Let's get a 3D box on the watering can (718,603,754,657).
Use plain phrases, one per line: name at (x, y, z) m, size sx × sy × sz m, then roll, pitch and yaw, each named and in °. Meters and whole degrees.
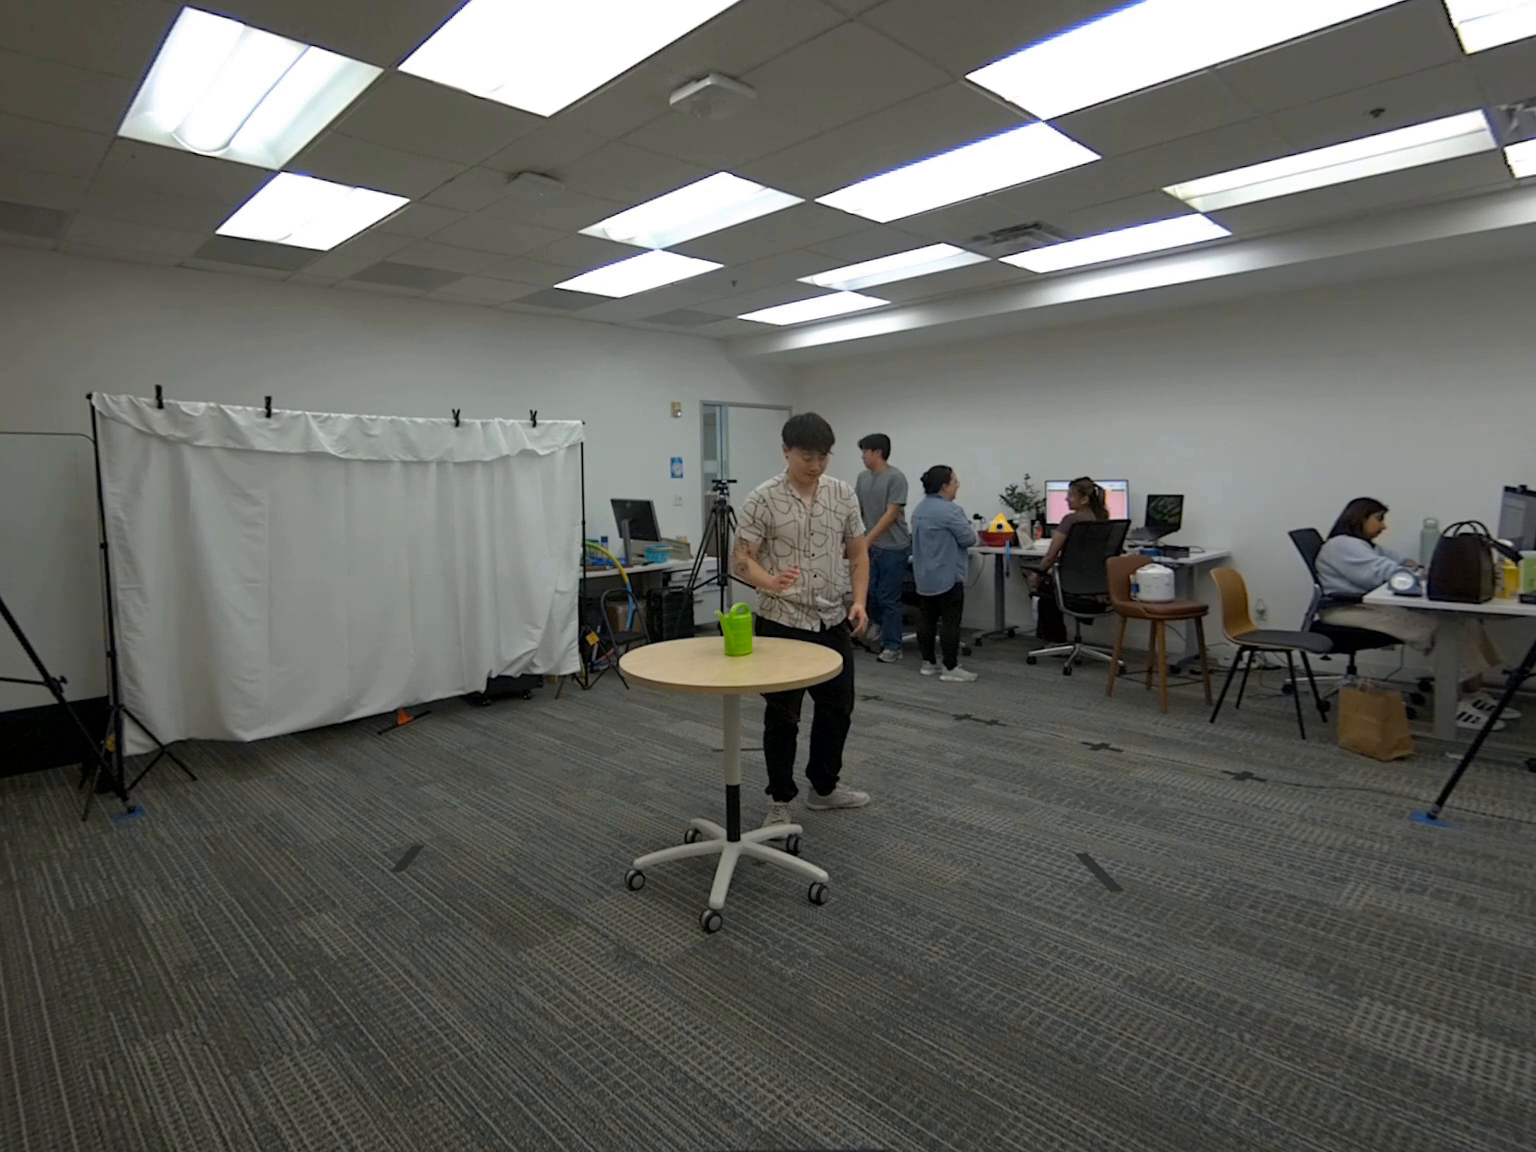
watering can at (-0.125, 0.190, 2.986) m, size 0.101 × 0.176 × 0.272 m, roll 2°, pitch 5°, yaw 32°
